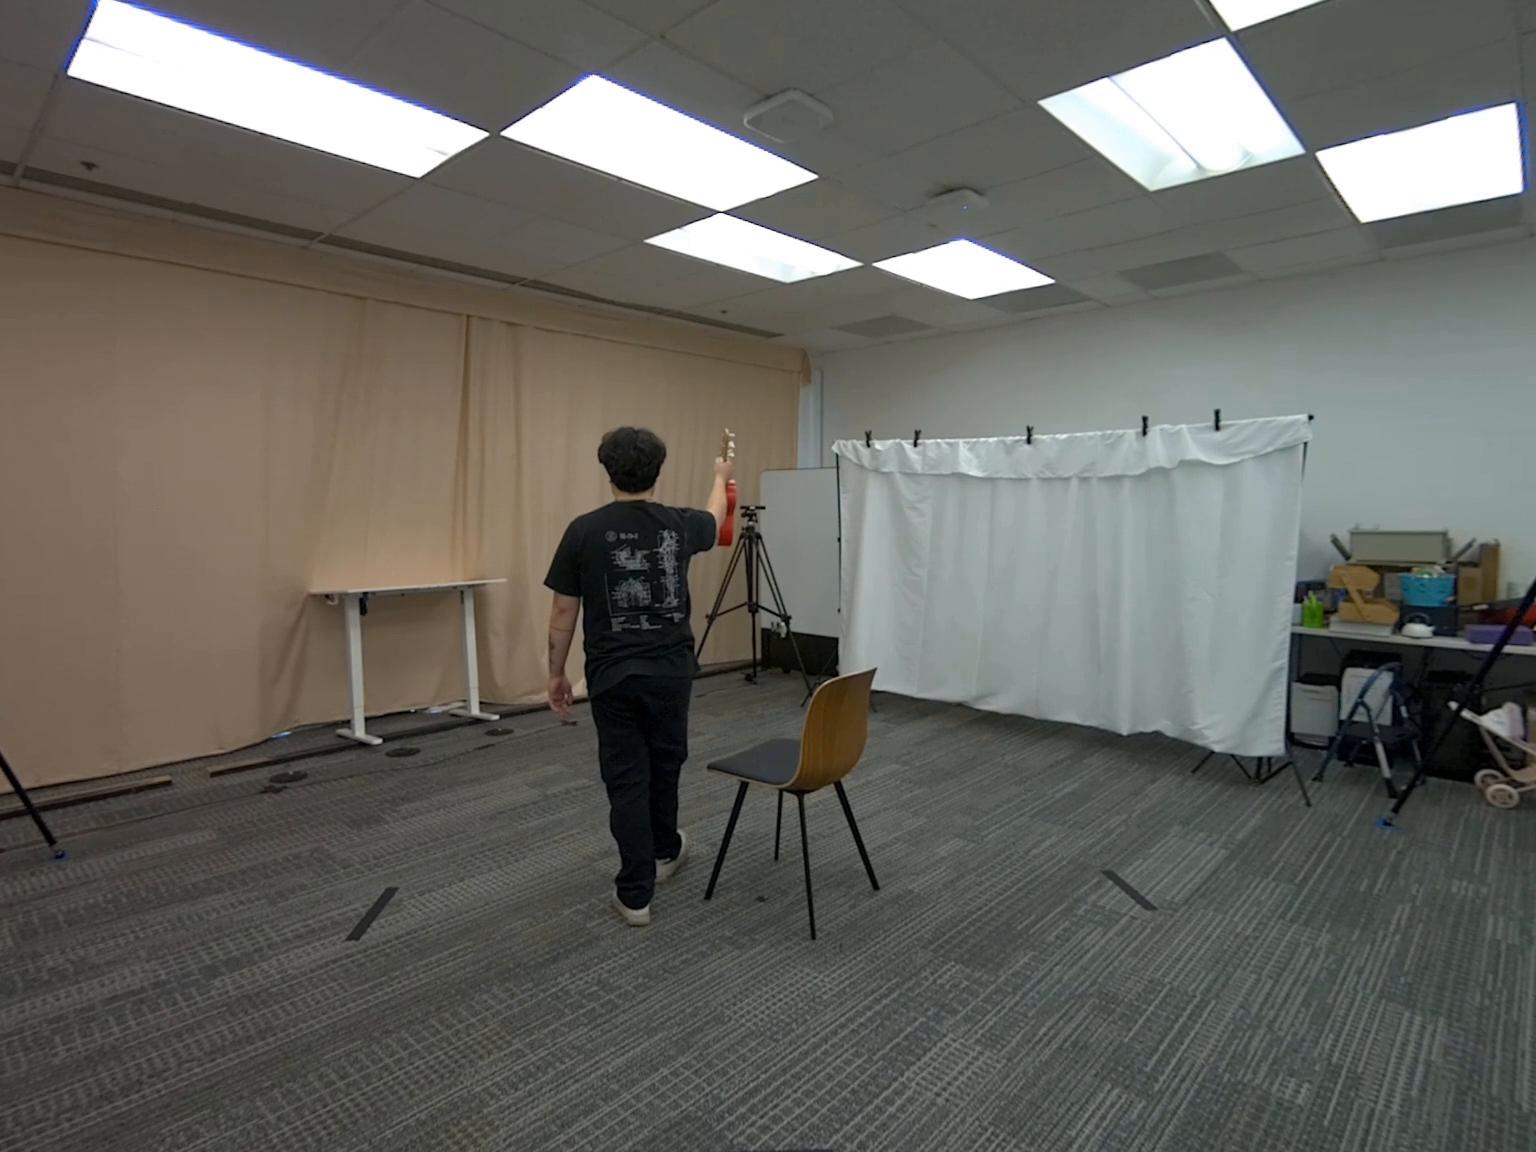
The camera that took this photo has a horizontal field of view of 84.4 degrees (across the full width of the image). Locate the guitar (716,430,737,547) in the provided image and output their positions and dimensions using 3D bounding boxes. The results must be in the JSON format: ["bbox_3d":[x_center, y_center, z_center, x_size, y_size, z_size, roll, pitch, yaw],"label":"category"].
[{"bbox_3d":[-0.167,-0.344,3.429,0.070,0.491,0.197,2,38,-10],"label":"guitar"}]
